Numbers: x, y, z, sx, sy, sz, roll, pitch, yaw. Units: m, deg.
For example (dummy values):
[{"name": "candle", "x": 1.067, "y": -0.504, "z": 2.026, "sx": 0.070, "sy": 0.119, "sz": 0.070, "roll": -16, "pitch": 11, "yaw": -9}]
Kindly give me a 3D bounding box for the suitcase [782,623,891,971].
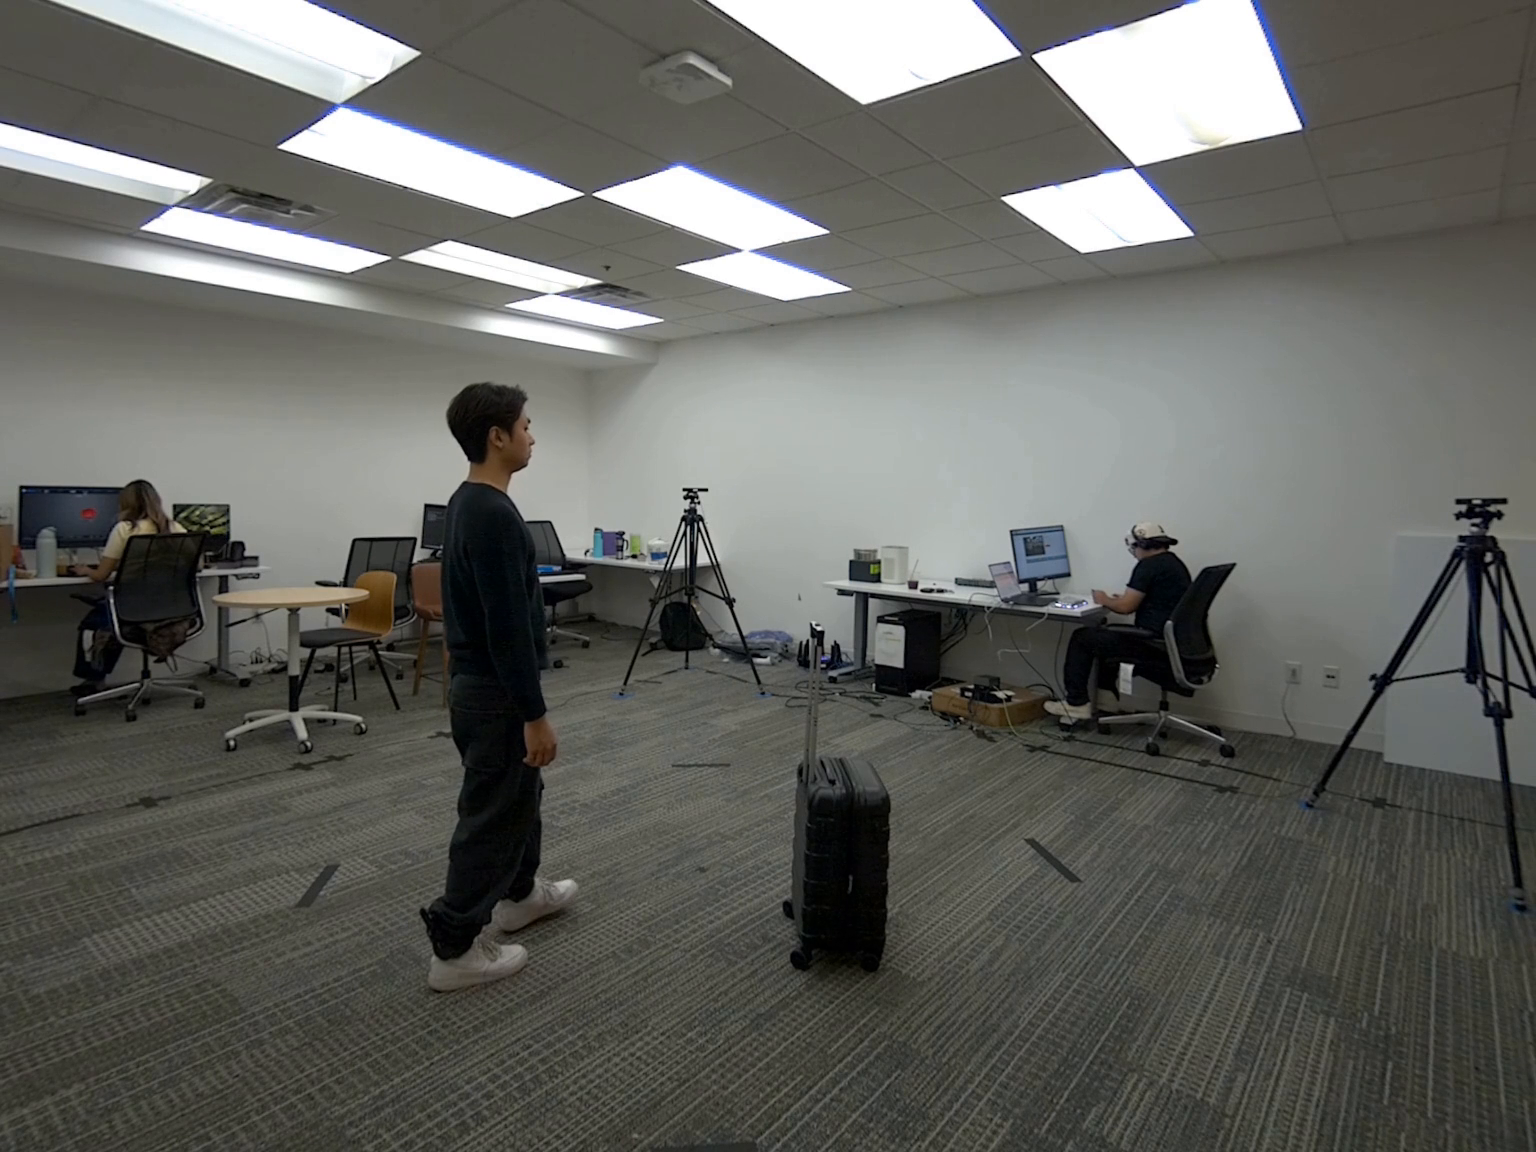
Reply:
[{"name": "suitcase", "x": 0.219, "y": 0.653, "z": 2.595, "sx": 0.257, "sy": 0.975, "sz": 0.385, "roll": 4, "pitch": 4, "yaw": 0}]
